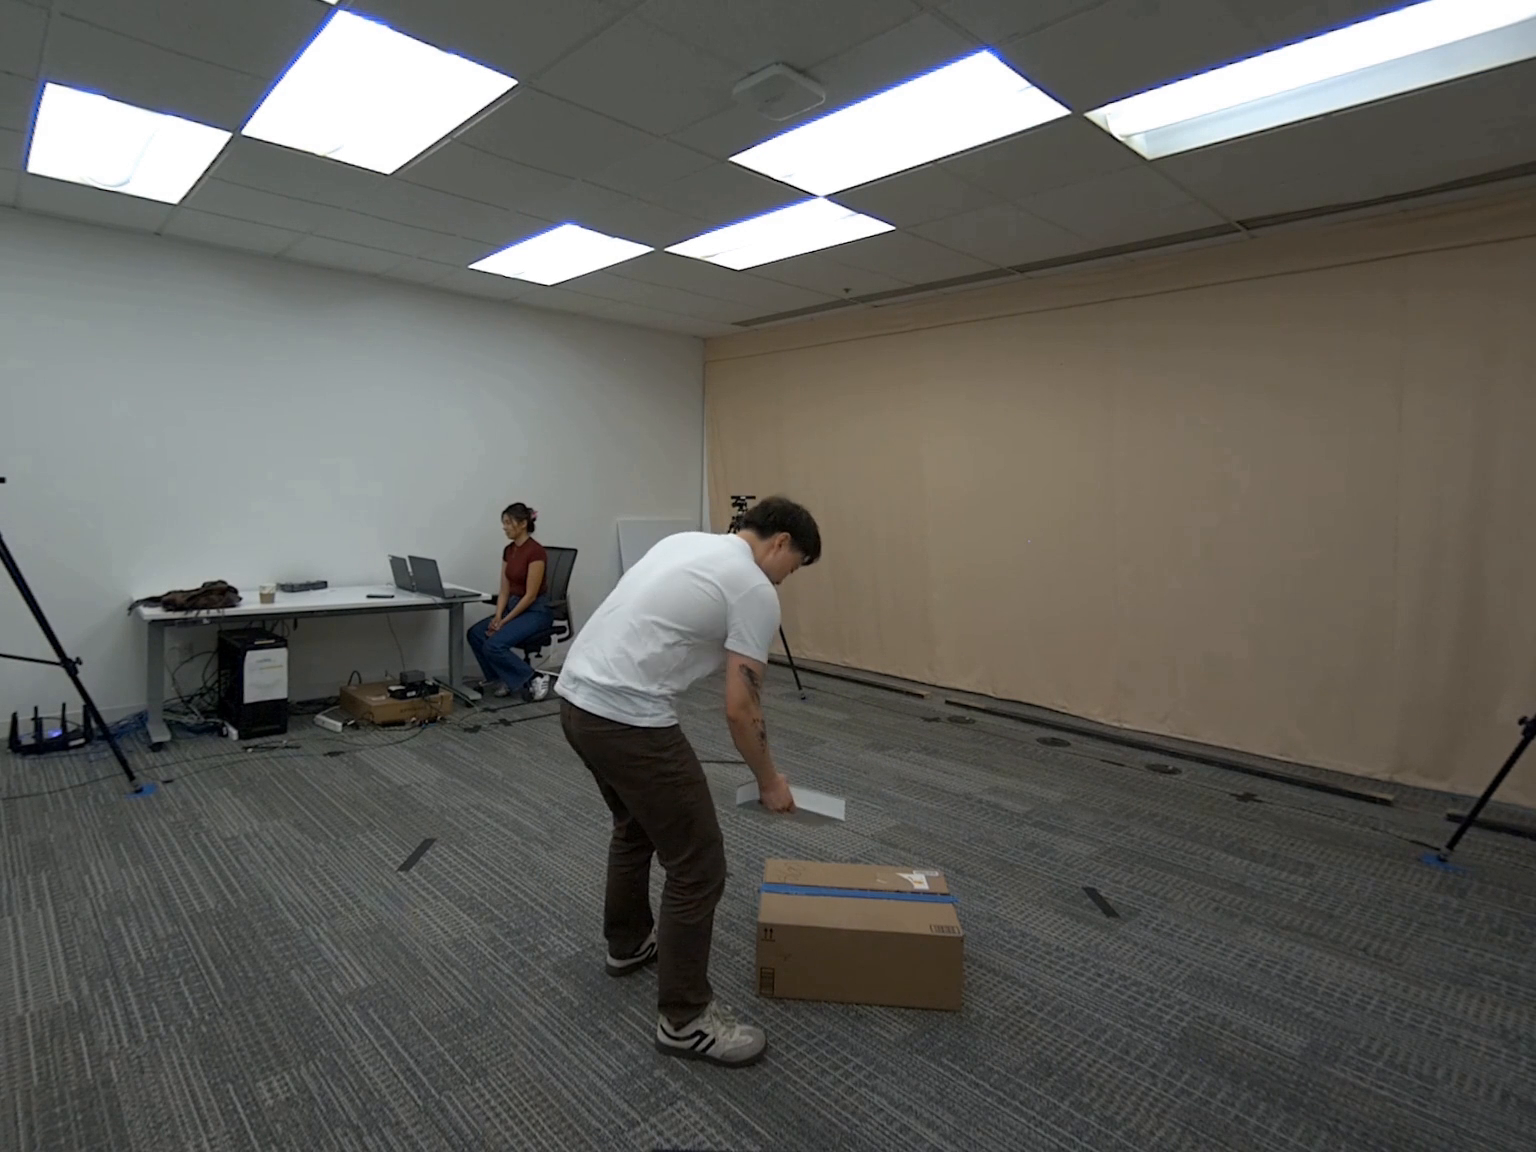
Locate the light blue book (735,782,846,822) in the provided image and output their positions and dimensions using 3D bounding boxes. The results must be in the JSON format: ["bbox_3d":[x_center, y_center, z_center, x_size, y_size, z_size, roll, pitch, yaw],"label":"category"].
[{"bbox_3d":[0.060,0.642,2.355,0.257,0.060,0.191,17,-25,-15],"label":"light blue book"}]
